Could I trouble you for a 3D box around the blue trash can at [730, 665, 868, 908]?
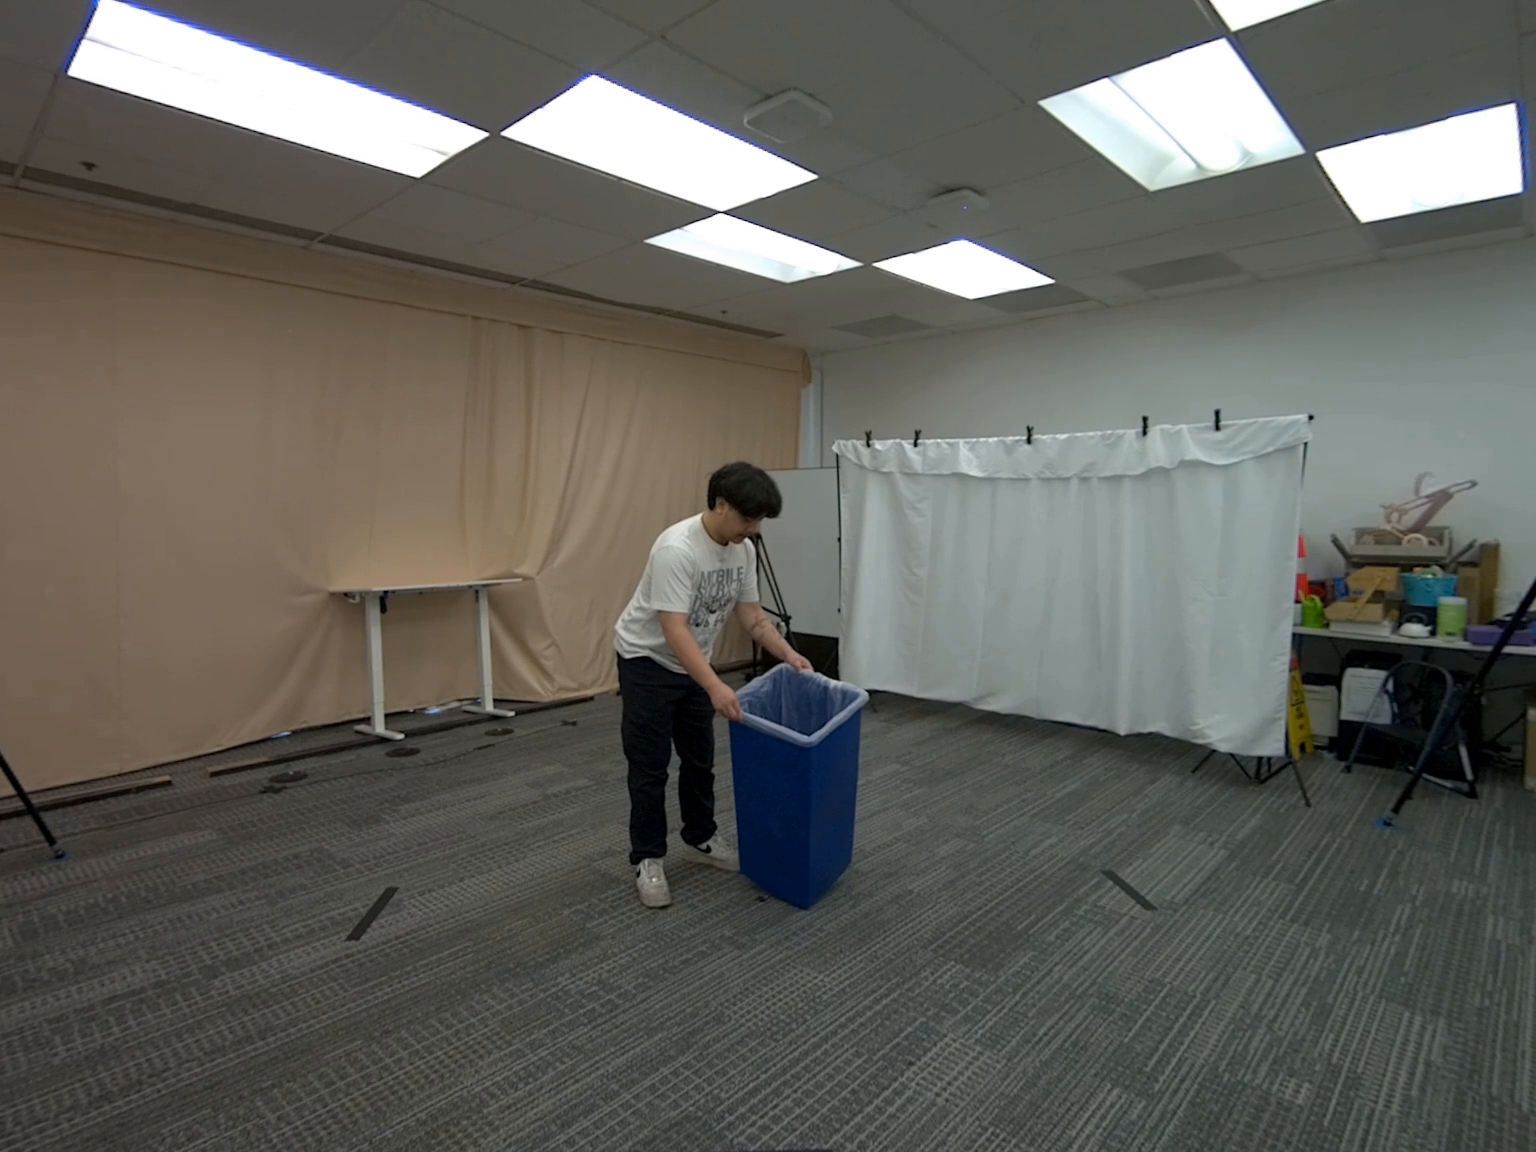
[{"bbox_3d":[0.100,0.744,2.944,0.391,0.704,0.366,13,25,35],"label":"blue trash can"}]
